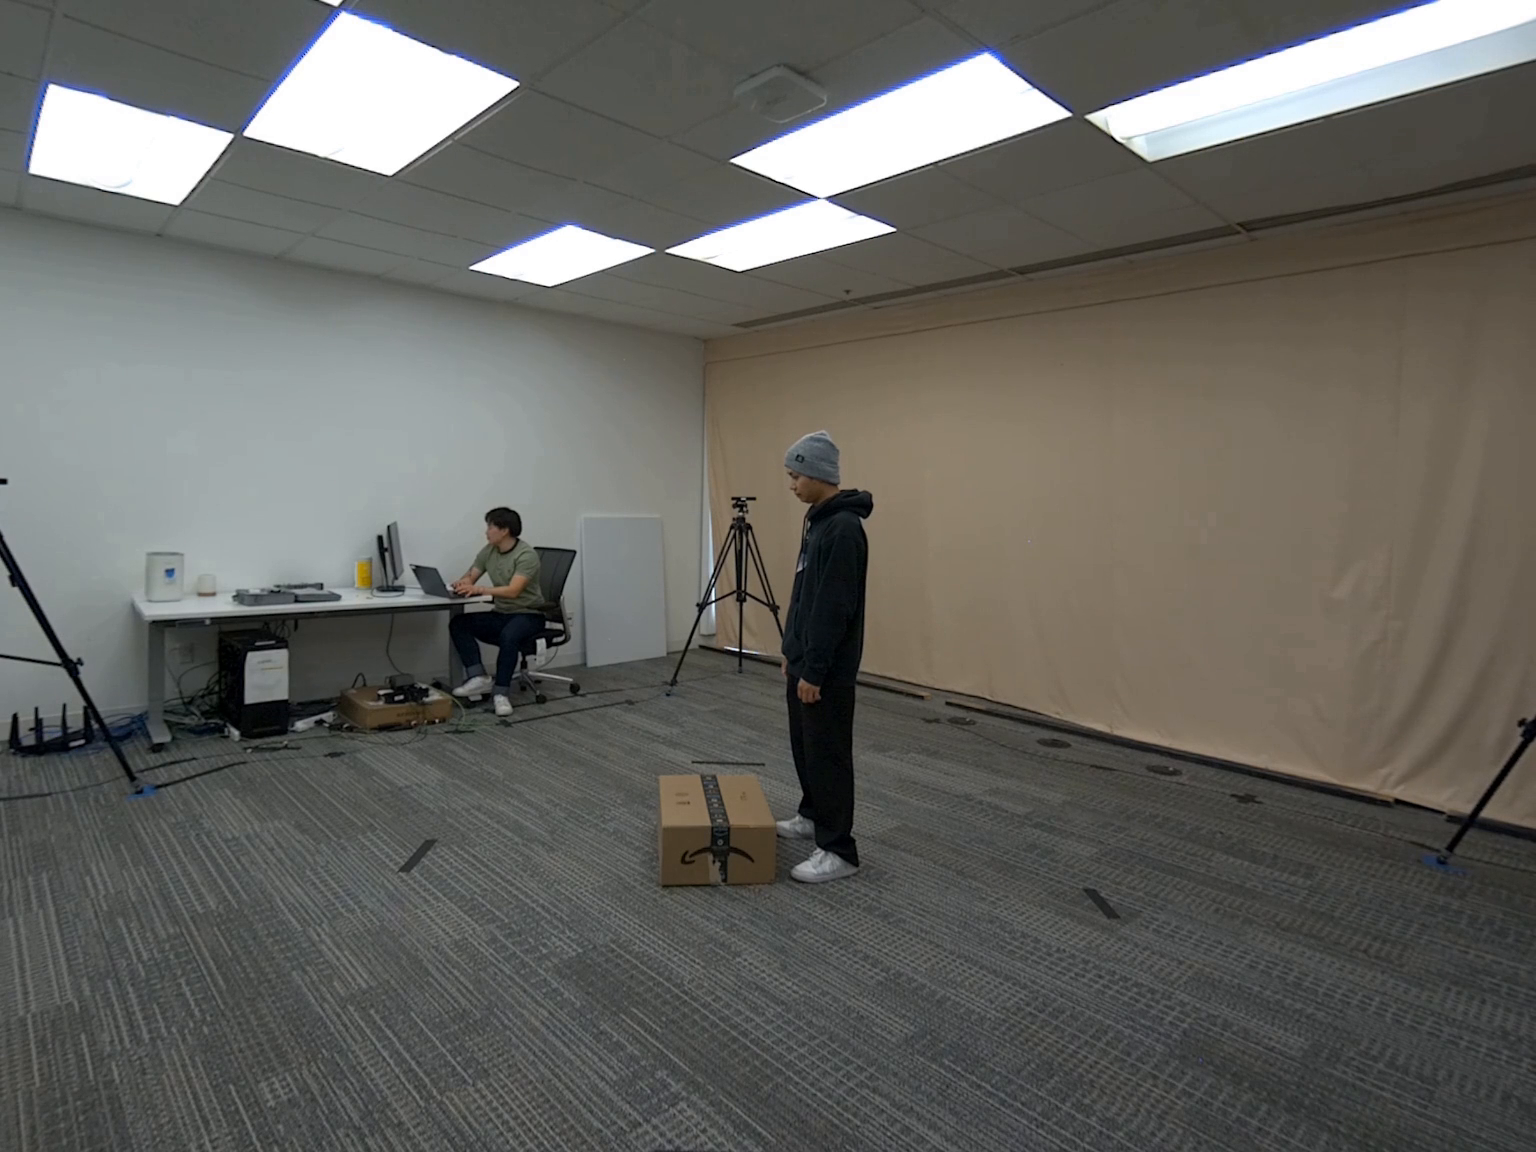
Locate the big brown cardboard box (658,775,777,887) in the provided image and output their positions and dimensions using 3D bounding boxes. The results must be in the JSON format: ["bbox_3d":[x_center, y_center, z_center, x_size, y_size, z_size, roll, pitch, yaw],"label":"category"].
[{"bbox_3d":[-0.224,0.977,3.295,0.415,0.232,0.594,2,4,-8],"label":"big brown cardboard box"}]
